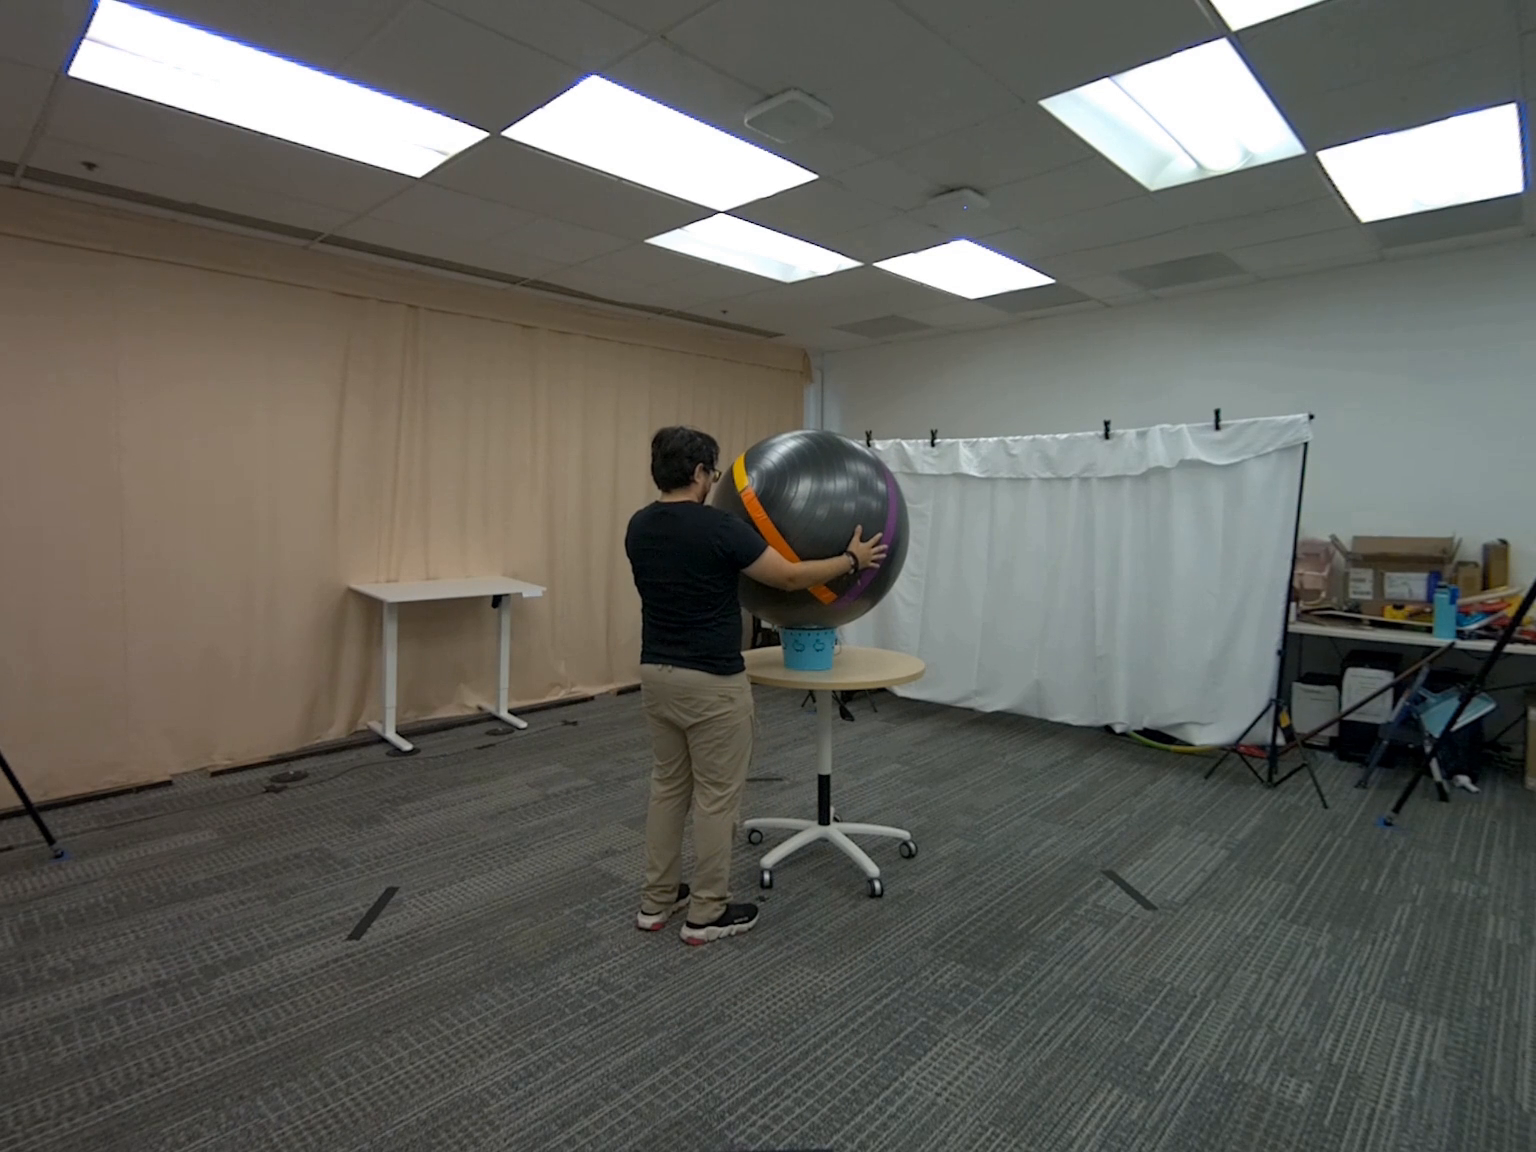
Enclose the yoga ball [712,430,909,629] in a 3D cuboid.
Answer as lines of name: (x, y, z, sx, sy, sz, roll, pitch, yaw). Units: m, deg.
yoga ball: (0.152, -0.167, 3.186, 0.757, 0.756, 0.760, 0, 4, -2)
